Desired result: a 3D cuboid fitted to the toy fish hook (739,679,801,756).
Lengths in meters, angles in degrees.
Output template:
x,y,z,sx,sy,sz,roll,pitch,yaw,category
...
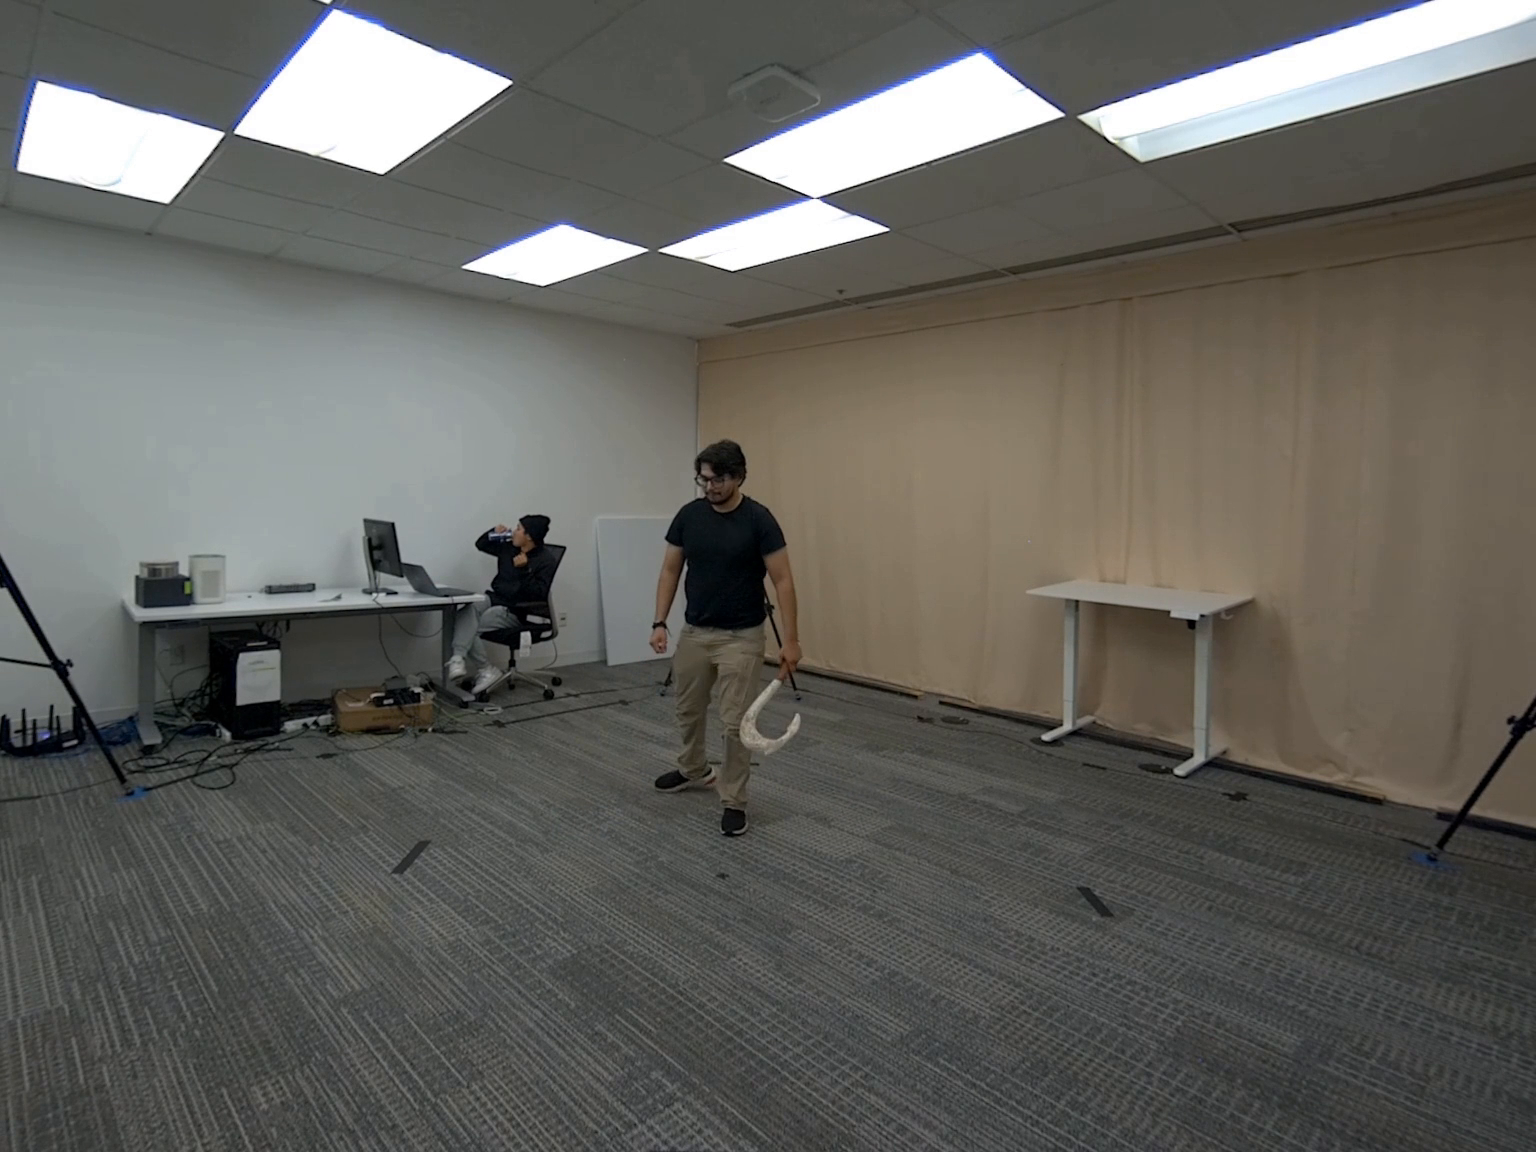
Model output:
x,y,z,sx,sy,sz,roll,pitch,yaw,category
0.047,0.477,3.342,0.229,0.510,0.047,13,-32,23,toy fish hook
